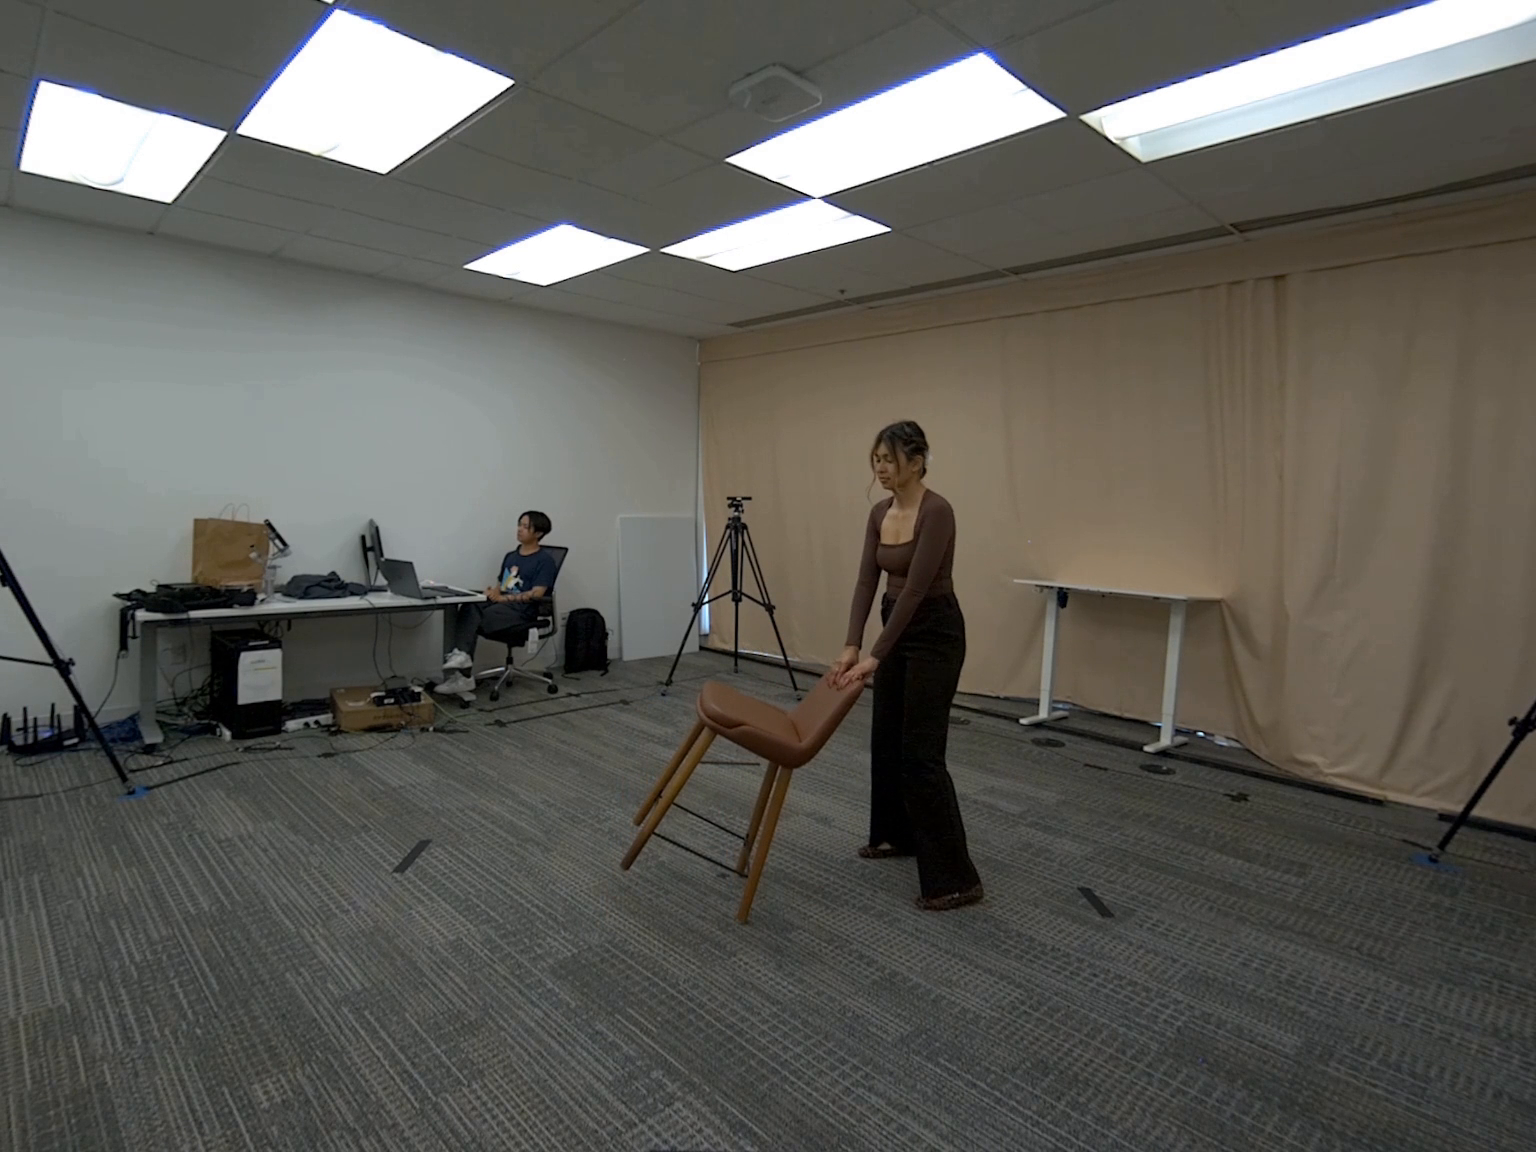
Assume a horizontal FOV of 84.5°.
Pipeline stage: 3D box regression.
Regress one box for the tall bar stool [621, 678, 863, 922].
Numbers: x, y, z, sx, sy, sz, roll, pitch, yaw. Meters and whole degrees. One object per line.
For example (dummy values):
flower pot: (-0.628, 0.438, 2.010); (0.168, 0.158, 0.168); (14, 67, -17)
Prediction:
tall bar stool: (-0.088, 0.638, 2.906); (0.467, 0.889, 0.458); (28, 3, -2)
